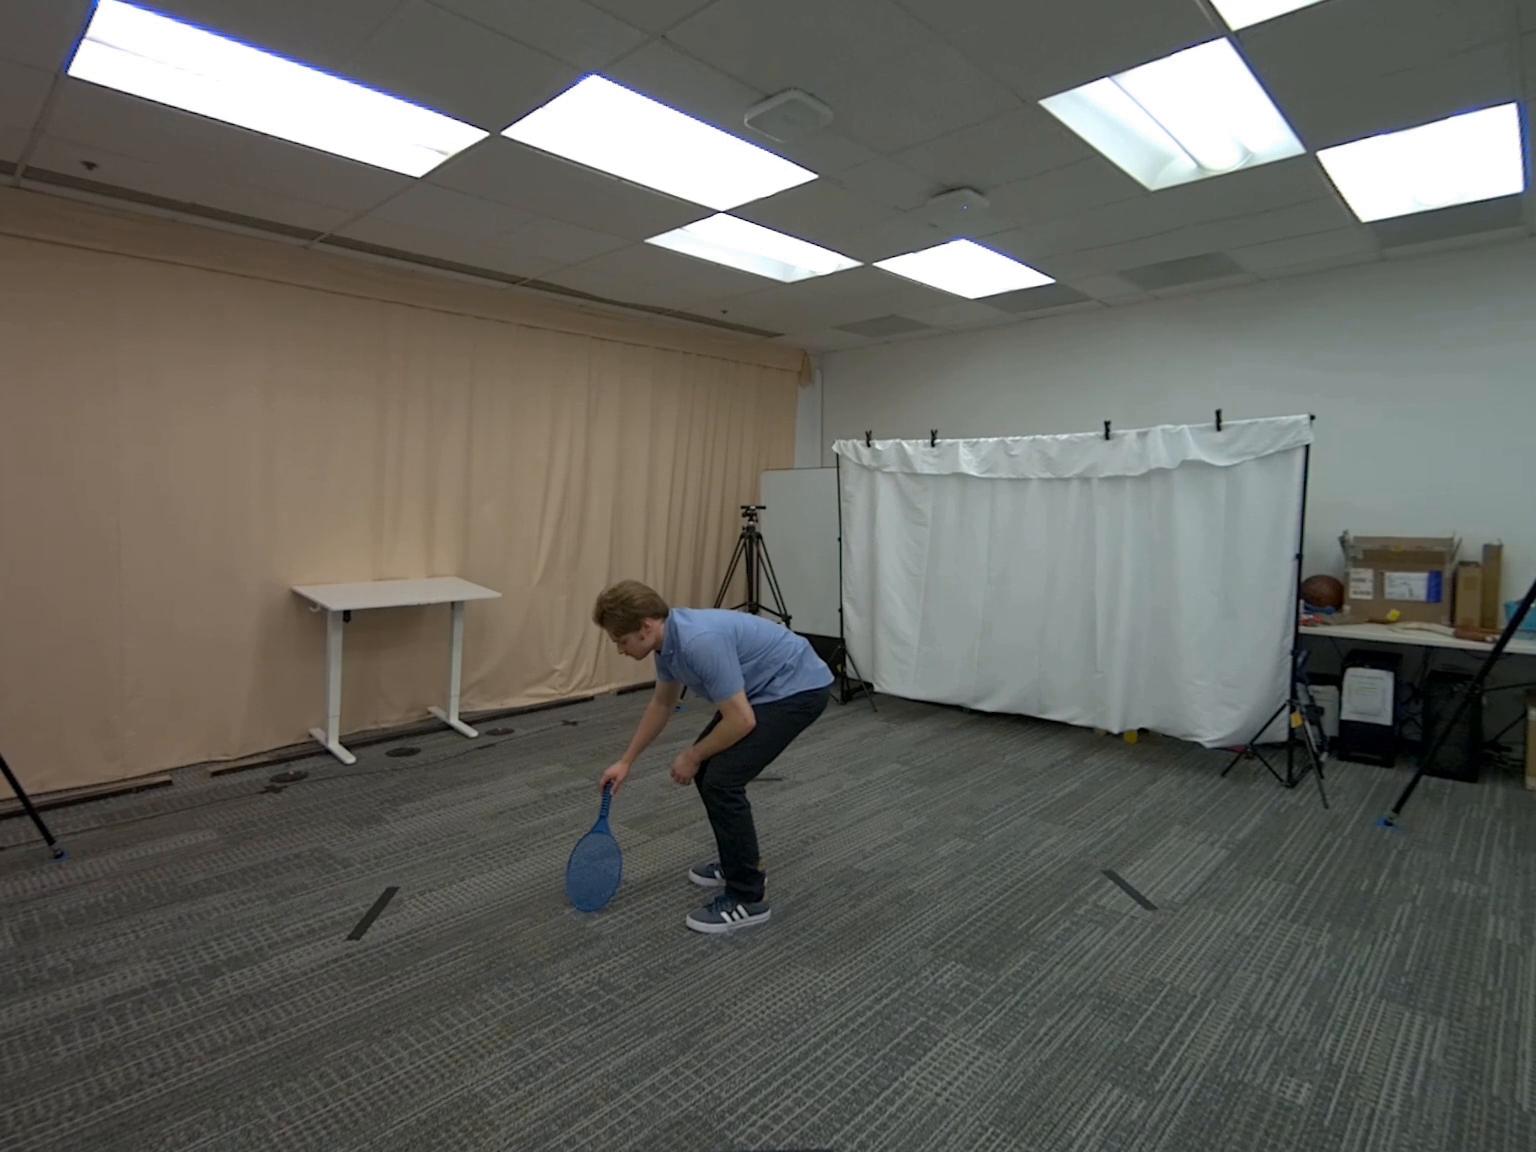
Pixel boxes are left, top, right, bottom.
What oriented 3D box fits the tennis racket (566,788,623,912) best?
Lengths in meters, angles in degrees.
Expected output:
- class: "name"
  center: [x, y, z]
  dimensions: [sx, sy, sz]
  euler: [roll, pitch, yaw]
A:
- class: "tennis racket"
  center: [-0.593, 0.953, 2.988]
  dimensions: [0.218, 0.437, 0.031]
  euler: [0, -24, 20]
